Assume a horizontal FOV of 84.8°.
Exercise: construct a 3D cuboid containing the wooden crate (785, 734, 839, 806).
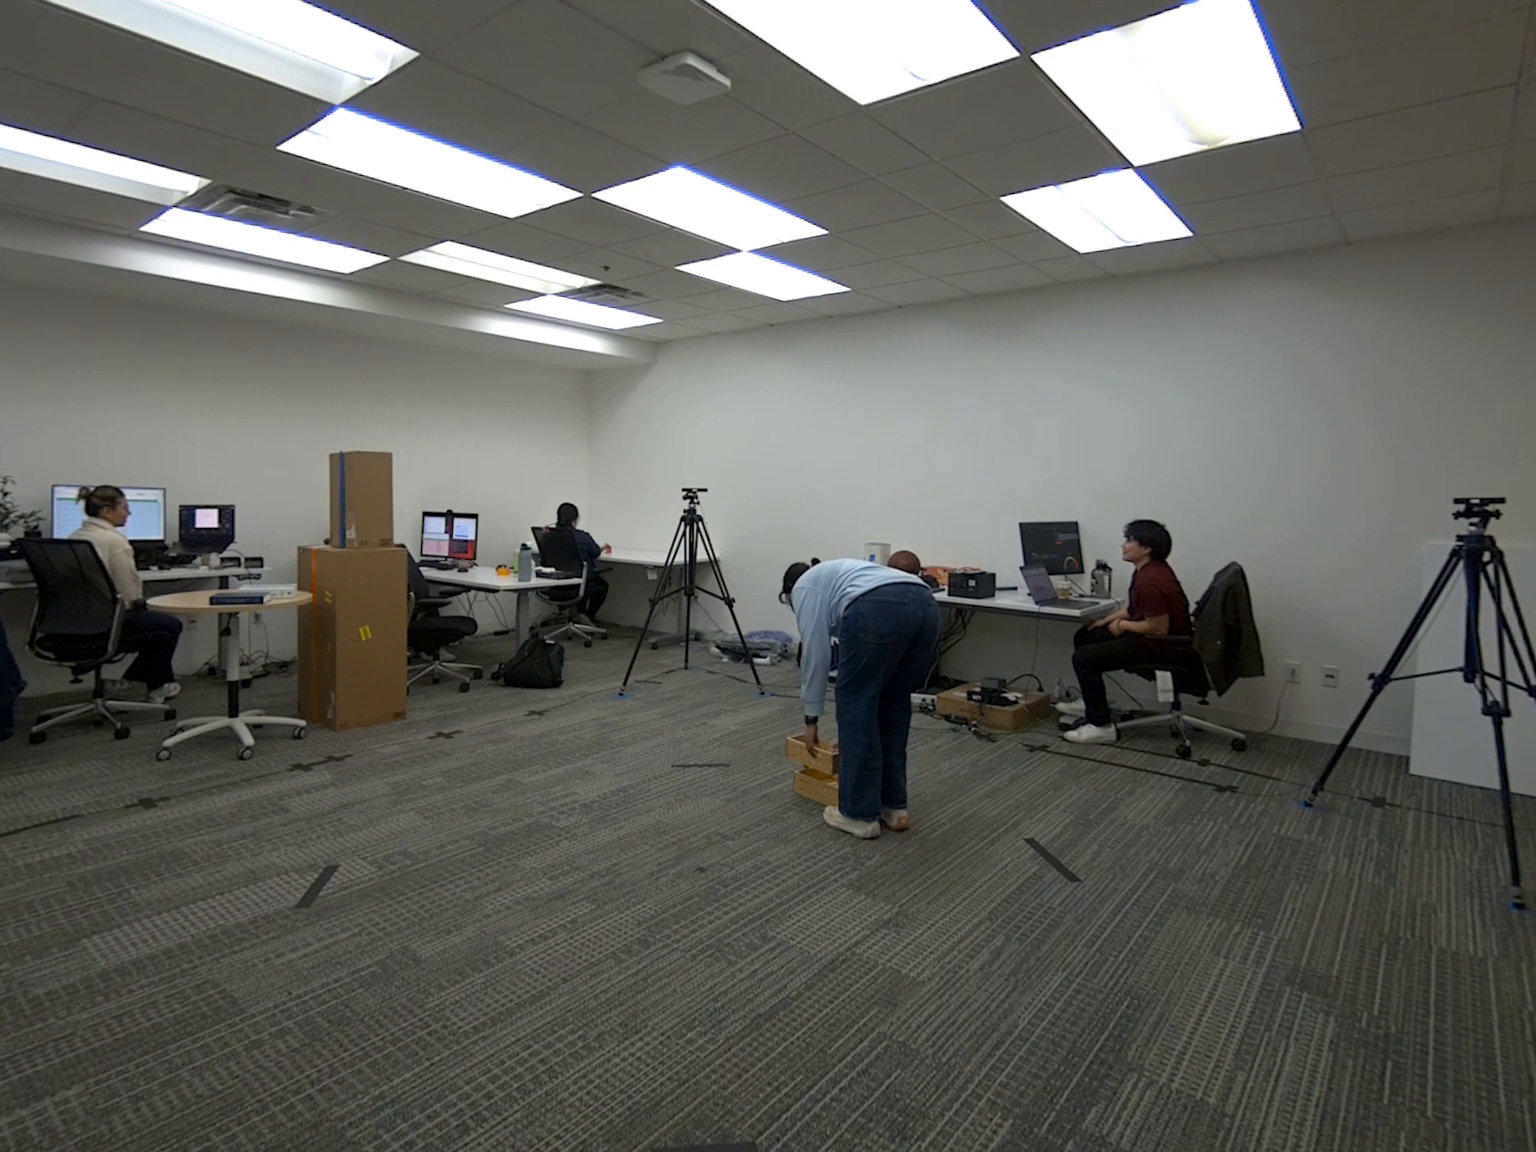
[{"bbox_3d":[0.285,0.869,3.880,0.293,0.272,0.335,-3,6,-39],"label":"wooden crate"}]
